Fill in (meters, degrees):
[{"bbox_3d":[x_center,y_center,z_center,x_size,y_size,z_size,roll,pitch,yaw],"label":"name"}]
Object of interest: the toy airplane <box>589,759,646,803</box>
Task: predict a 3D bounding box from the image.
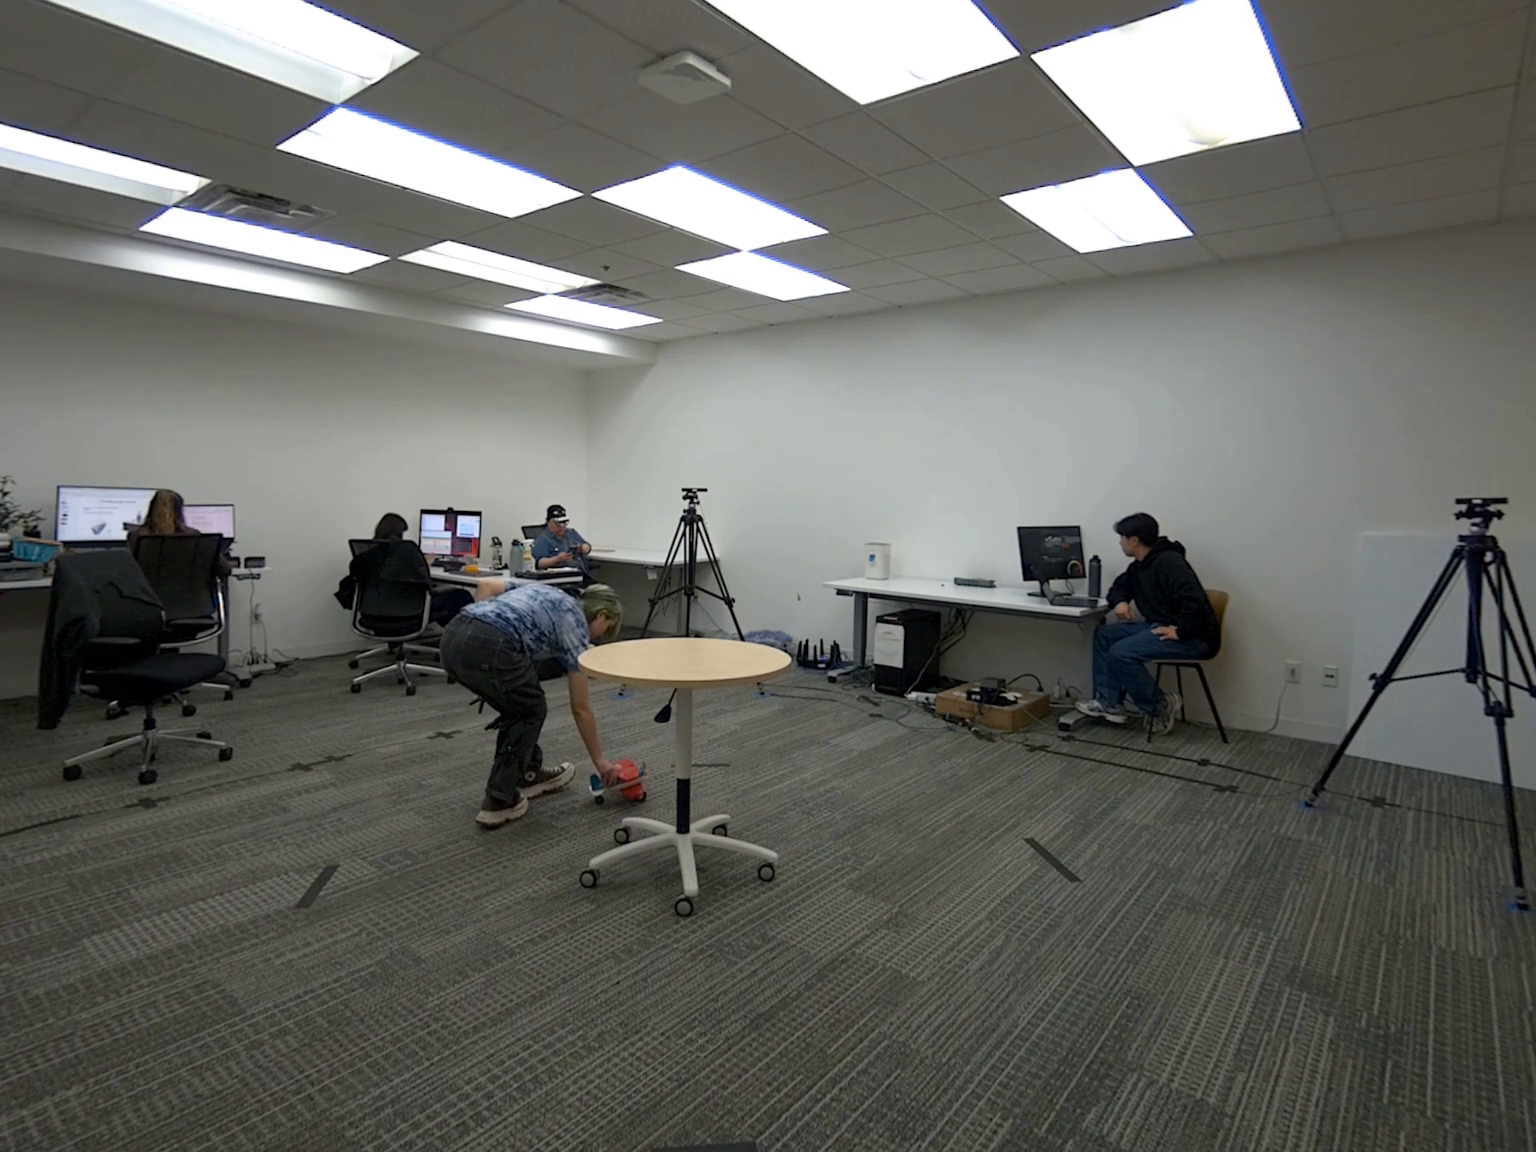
[{"bbox_3d":[-0.667,0.928,3.774,0.259,0.156,0.251,4,5,42],"label":"toy airplane"}]
